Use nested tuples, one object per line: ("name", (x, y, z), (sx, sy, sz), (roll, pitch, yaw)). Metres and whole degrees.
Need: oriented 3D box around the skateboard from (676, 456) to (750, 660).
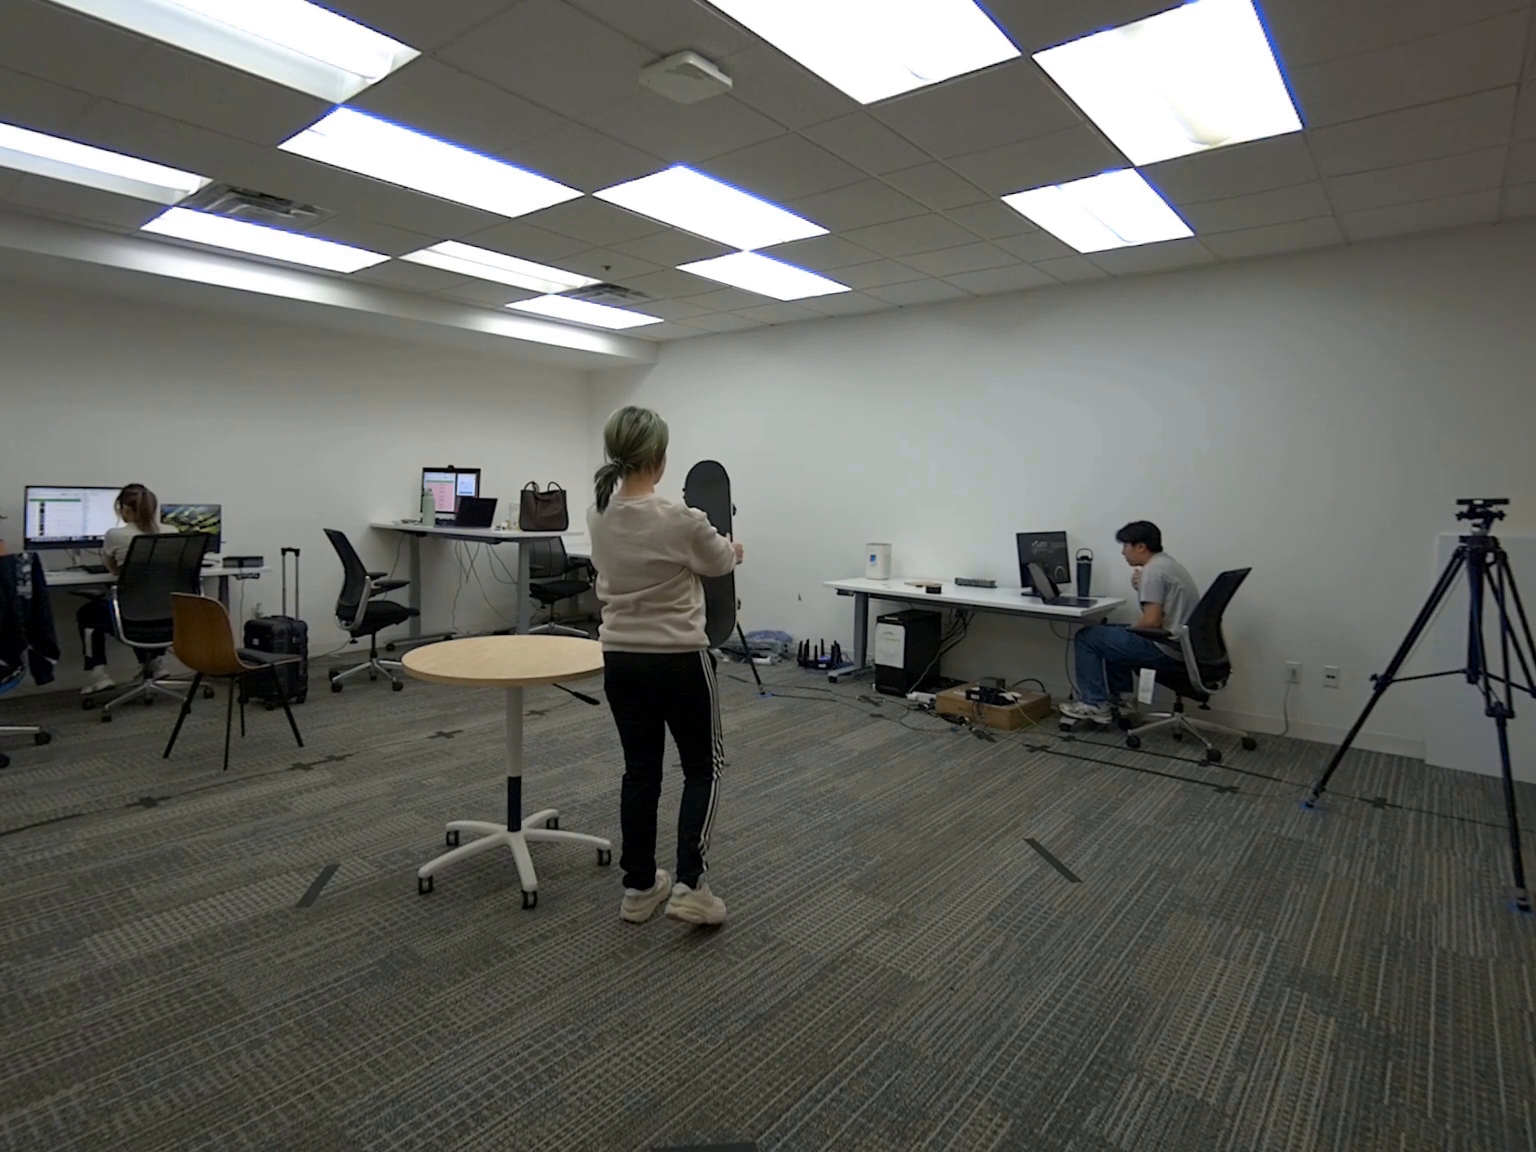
("skateboard", (-0.217, -0.080, 3.209), (0.196, 0.806, 0.106), (-14, -28, 13))
